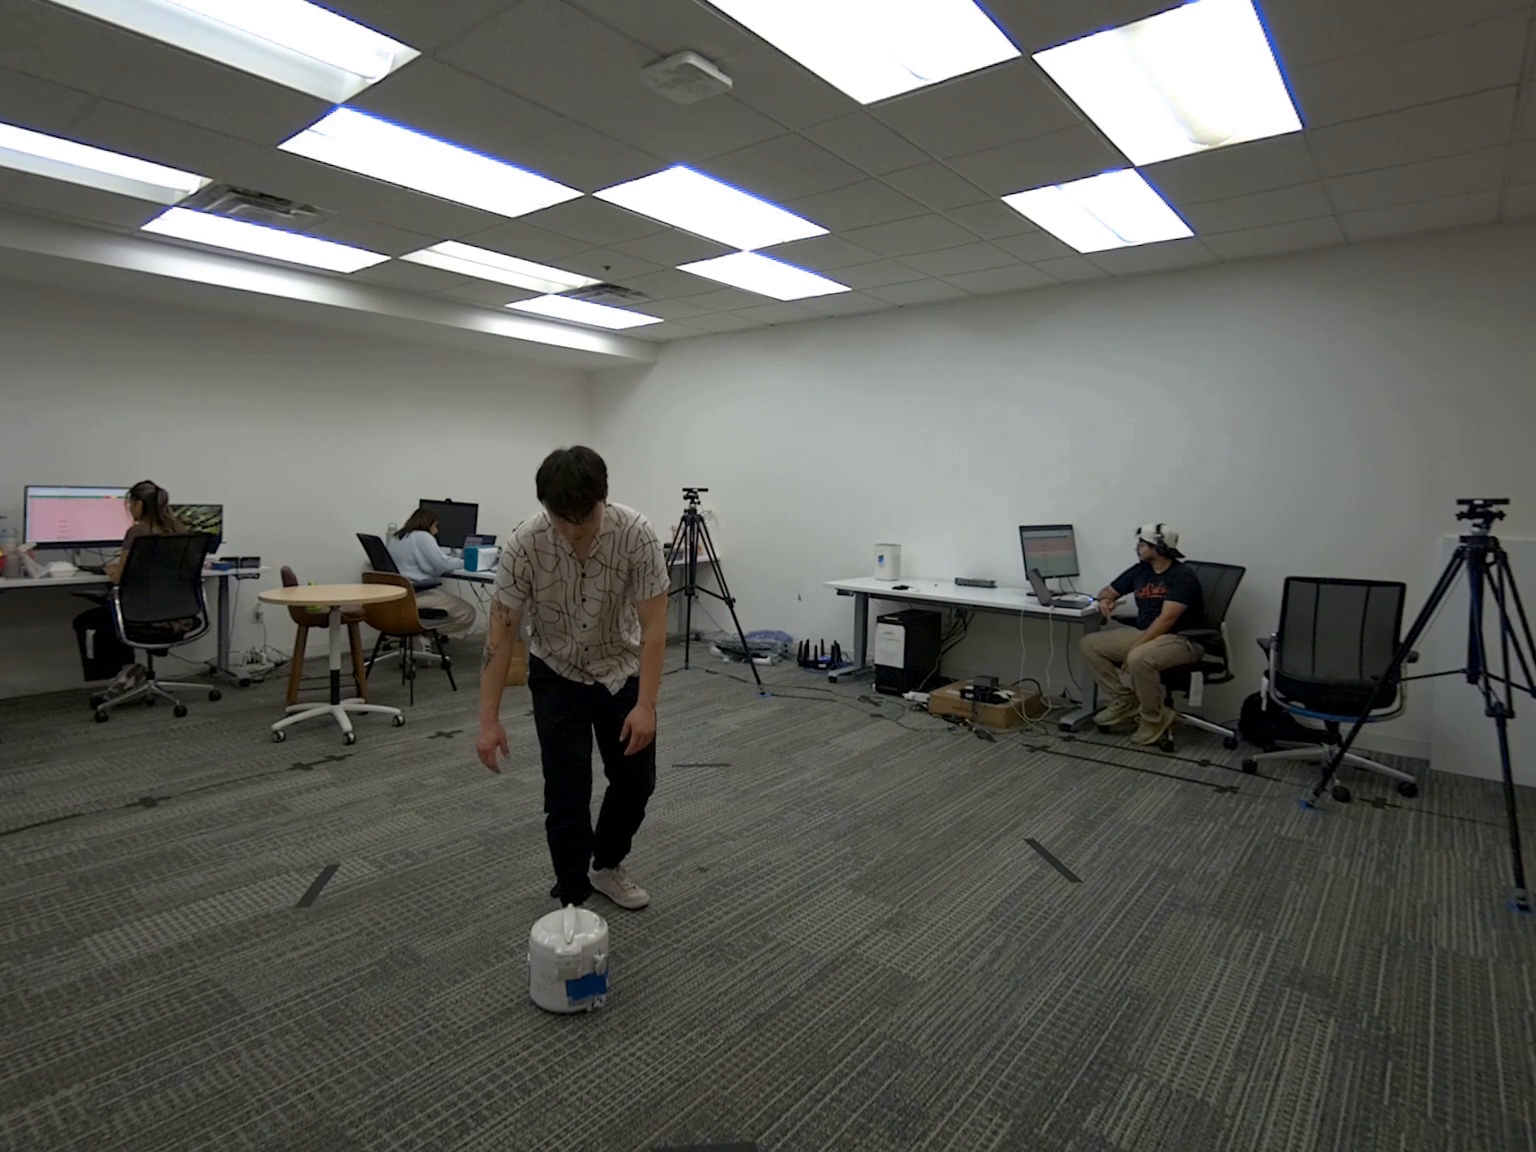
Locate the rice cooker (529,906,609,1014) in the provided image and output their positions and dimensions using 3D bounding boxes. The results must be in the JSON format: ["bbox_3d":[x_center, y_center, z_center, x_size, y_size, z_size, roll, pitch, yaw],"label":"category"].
[{"bbox_3d":[-0.549,1.023,2.315,0.215,0.232,0.223,0,4,-10],"label":"rice cooker"}]
